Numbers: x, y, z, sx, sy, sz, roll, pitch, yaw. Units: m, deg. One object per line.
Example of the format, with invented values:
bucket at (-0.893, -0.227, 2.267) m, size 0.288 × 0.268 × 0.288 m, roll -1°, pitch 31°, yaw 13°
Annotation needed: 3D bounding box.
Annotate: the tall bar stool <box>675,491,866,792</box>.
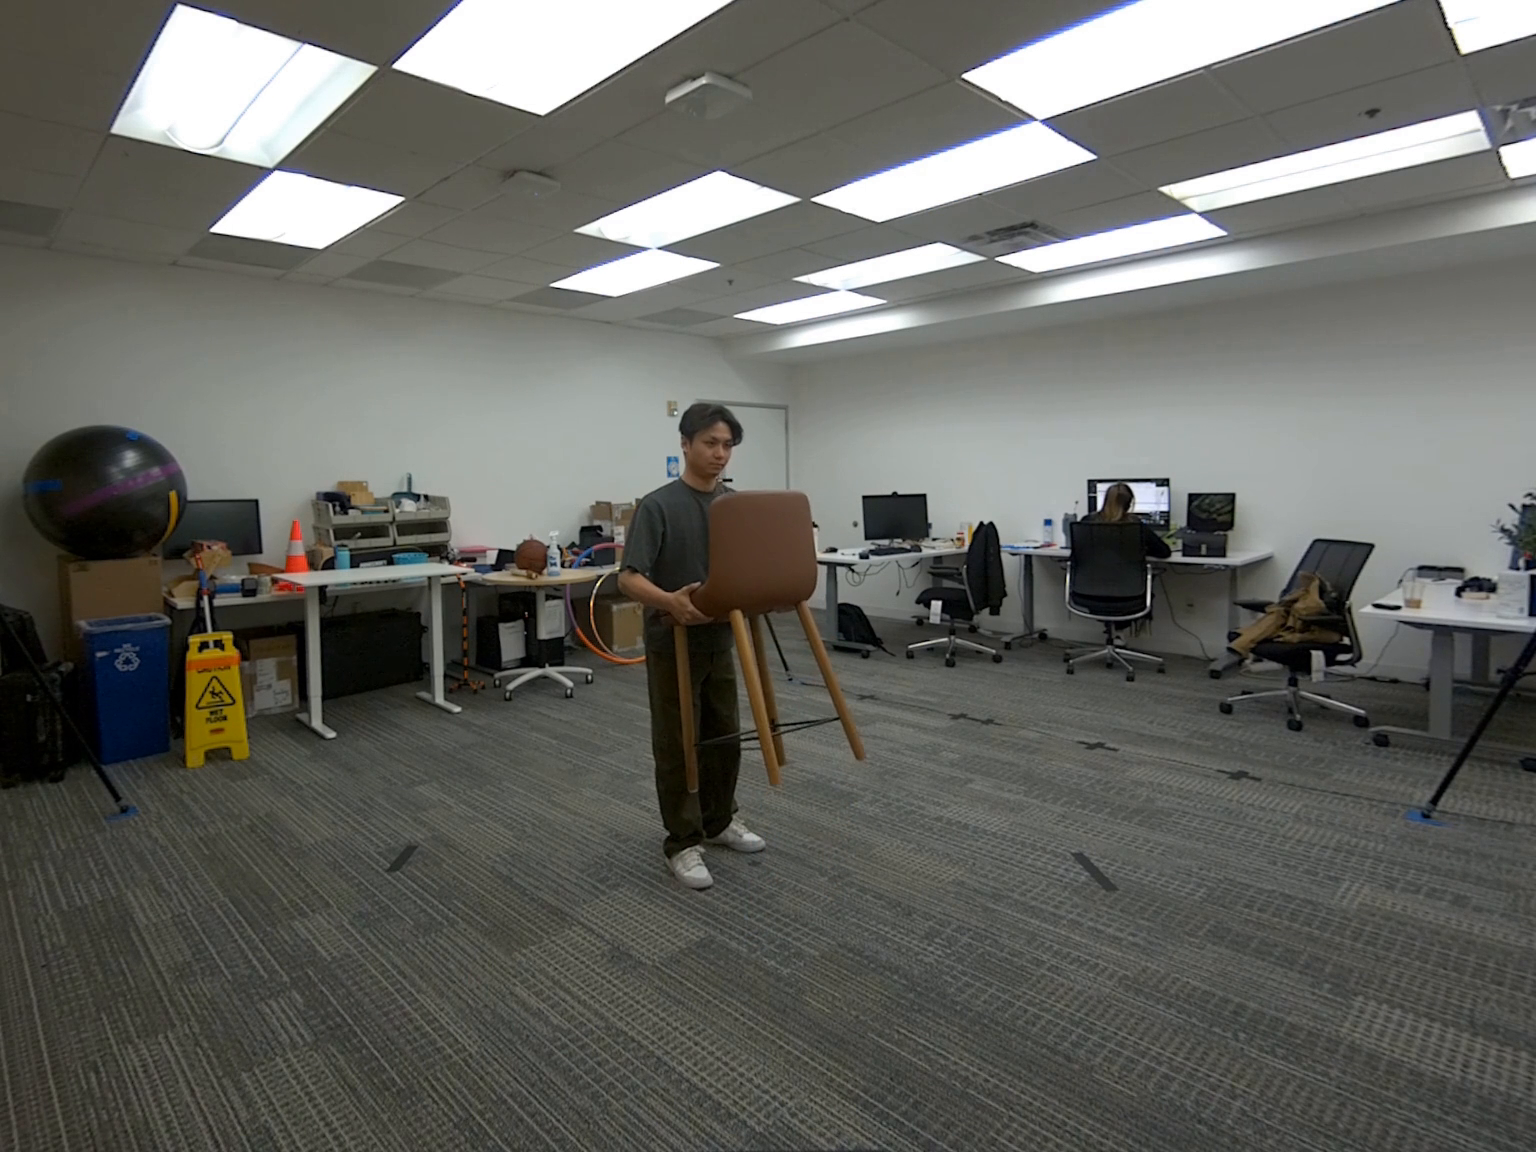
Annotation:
tall bar stool at (-0.059, 0.211, 2.799) m, size 0.445 × 0.898 × 0.475 m, roll -5°, pitch -10°, yaw -38°
